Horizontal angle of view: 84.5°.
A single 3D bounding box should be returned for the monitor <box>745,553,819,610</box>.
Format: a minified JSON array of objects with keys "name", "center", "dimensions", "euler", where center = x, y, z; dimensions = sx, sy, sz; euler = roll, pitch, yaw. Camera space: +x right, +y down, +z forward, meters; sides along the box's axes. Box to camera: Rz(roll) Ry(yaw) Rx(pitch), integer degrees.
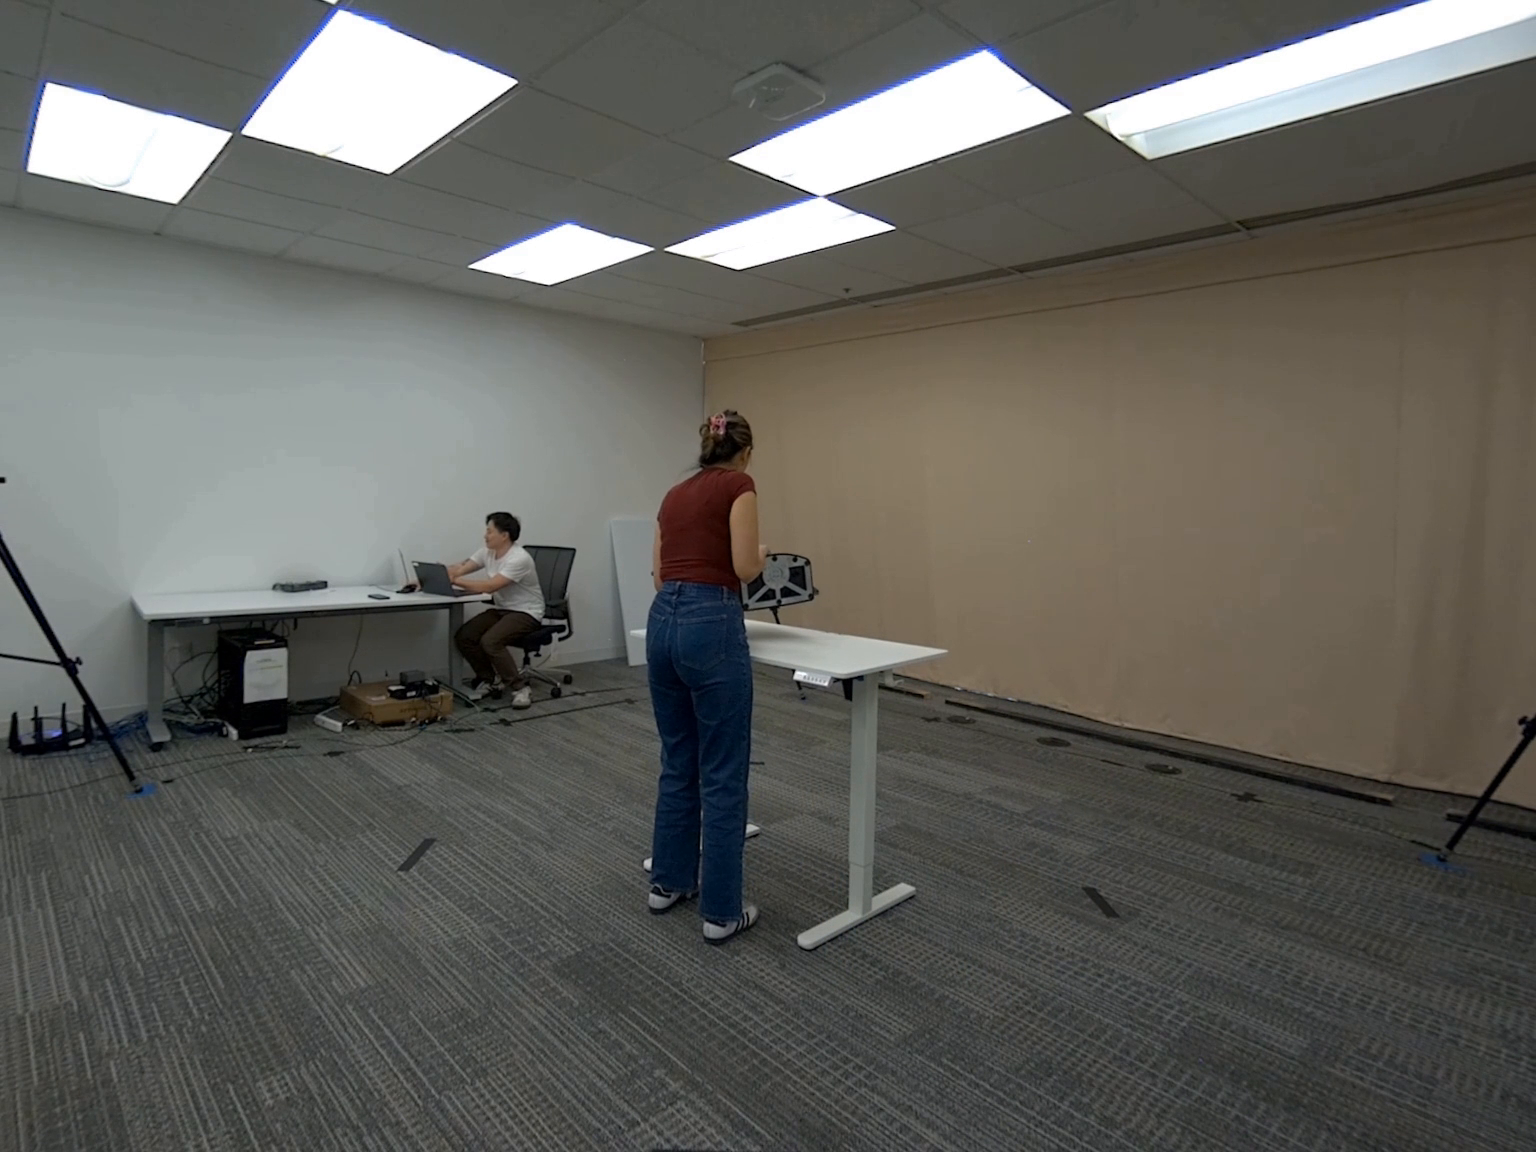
[{"name":"monitor","center":[-0.095,-0.003,3.065],"dimensions":[0.530,0.186,0.534],"euler":[-4,7,-26]}]
